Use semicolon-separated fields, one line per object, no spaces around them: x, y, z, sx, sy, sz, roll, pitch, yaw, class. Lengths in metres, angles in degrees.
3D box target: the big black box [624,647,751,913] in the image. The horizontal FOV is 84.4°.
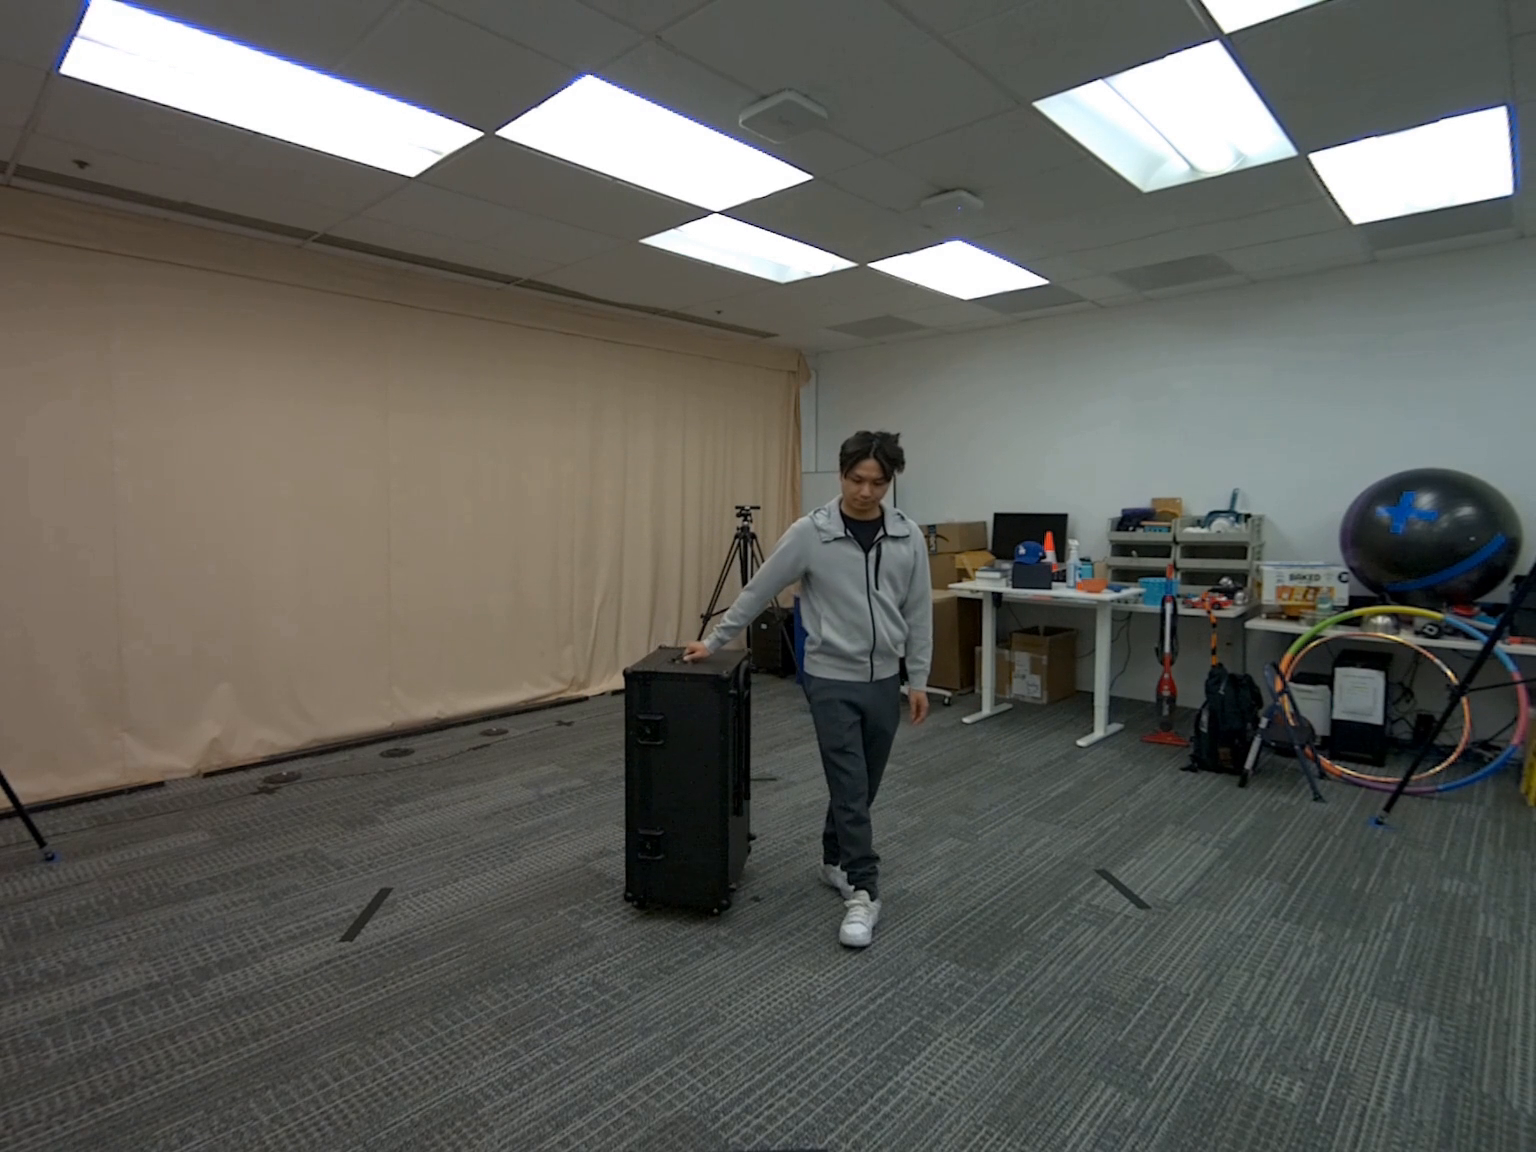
-0.259;0.721;3.008;0.401;0.860;0.516;2;4;9;big black box
